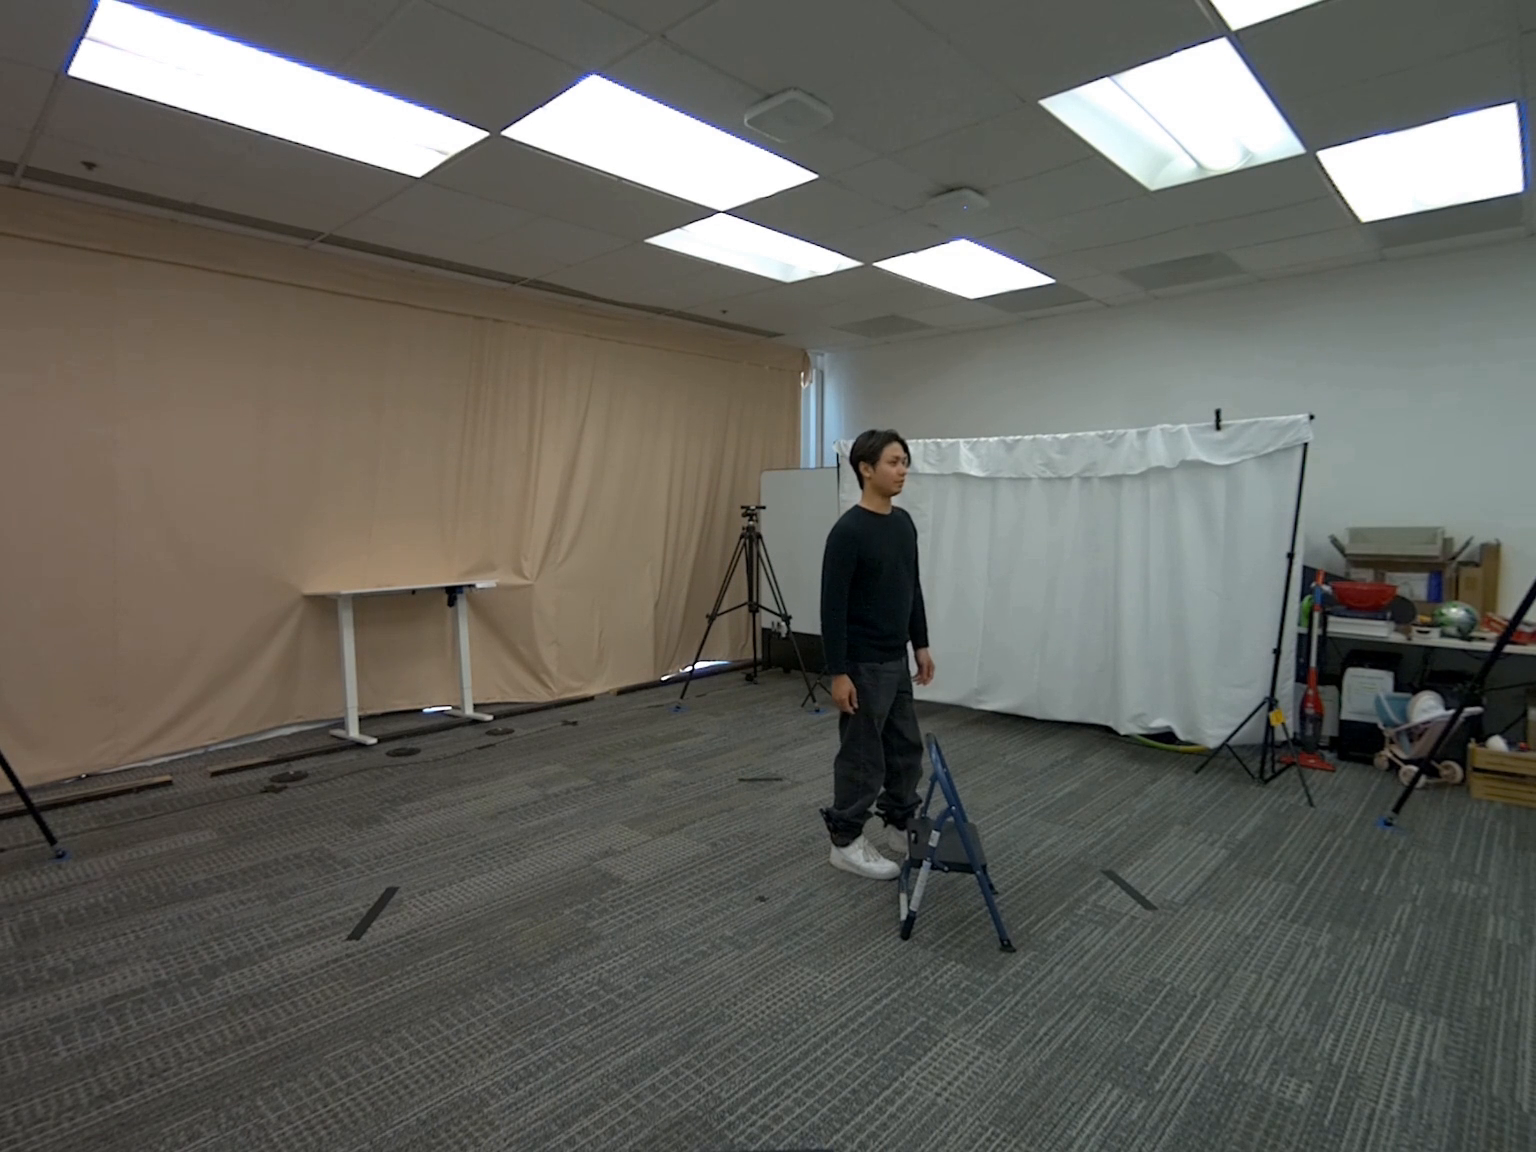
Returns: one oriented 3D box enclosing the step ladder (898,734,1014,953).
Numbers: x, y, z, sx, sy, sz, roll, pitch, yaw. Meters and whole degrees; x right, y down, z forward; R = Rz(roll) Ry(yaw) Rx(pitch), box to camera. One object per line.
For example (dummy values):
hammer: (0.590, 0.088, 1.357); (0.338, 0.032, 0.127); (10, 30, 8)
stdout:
step ladder: (0.628, 0.849, 2.845); (0.353, 0.605, 0.427); (0, 3, 8)
